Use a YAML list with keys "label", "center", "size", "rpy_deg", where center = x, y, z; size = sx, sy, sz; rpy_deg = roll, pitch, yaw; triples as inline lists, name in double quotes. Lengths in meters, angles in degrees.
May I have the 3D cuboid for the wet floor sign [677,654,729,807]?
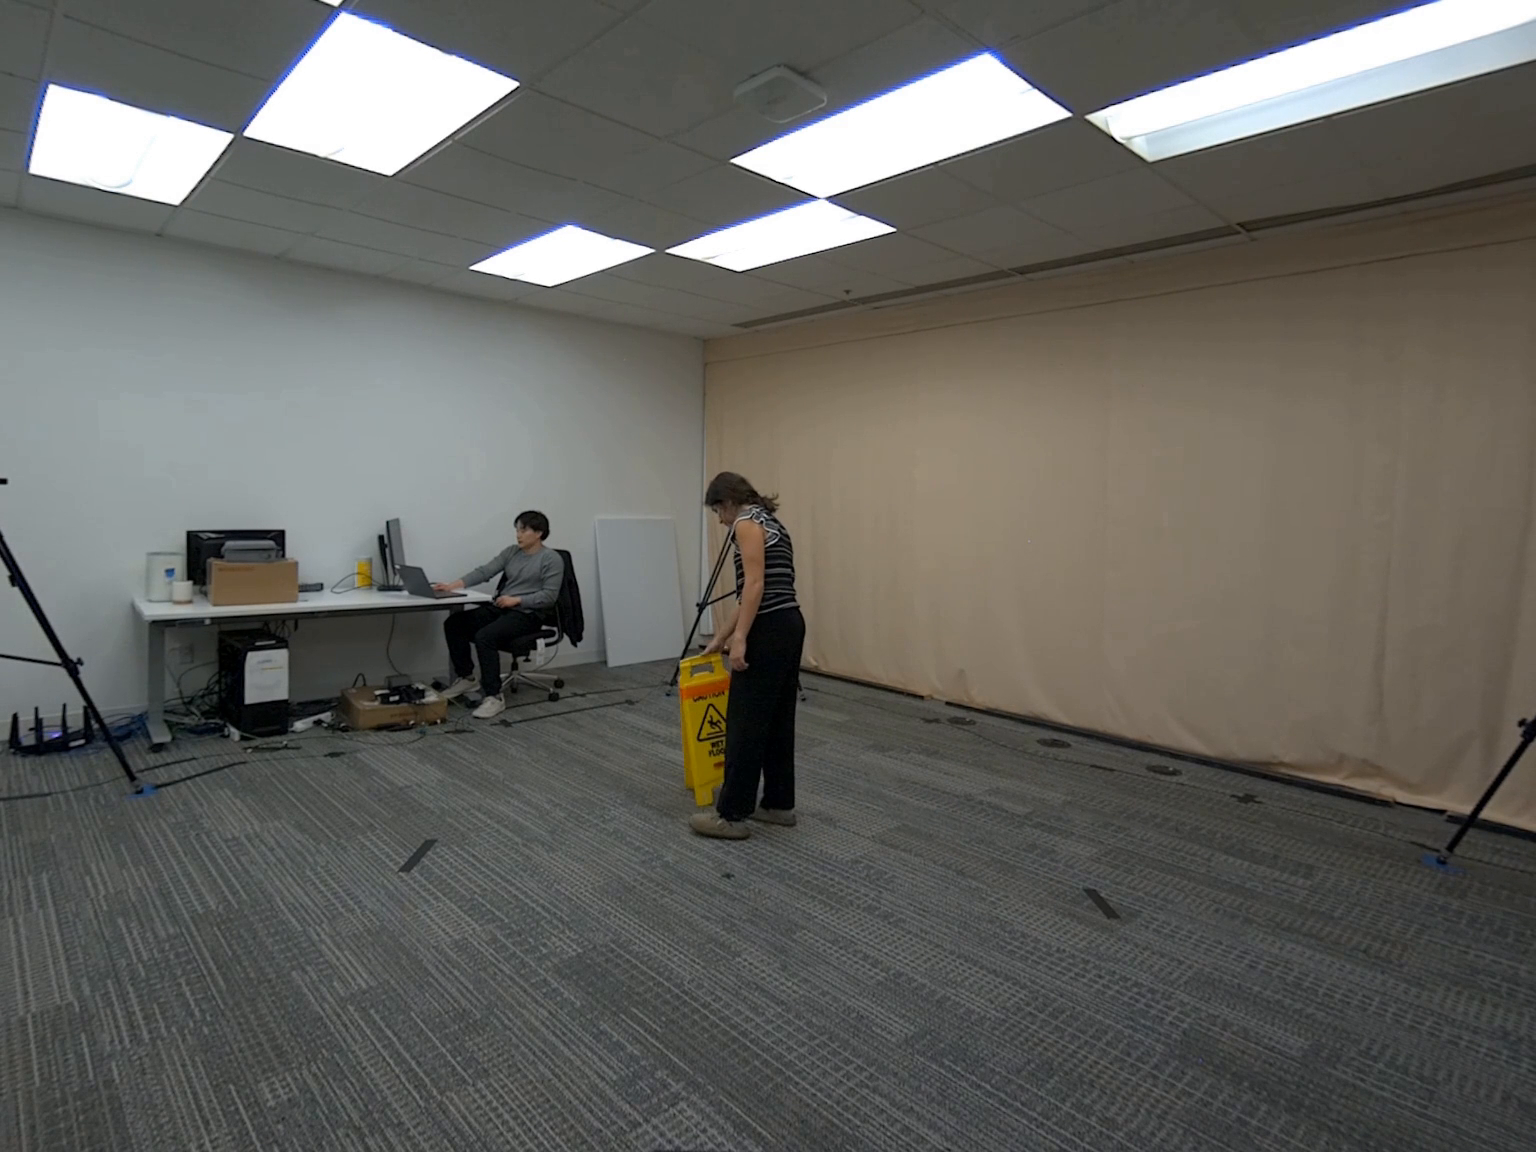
- label: "wet floor sign"
  center: [-0.277, 0.690, 3.915]
  size: [0.280, 0.642, 0.294]
  rpy_deg: [-10, 7, -14]
